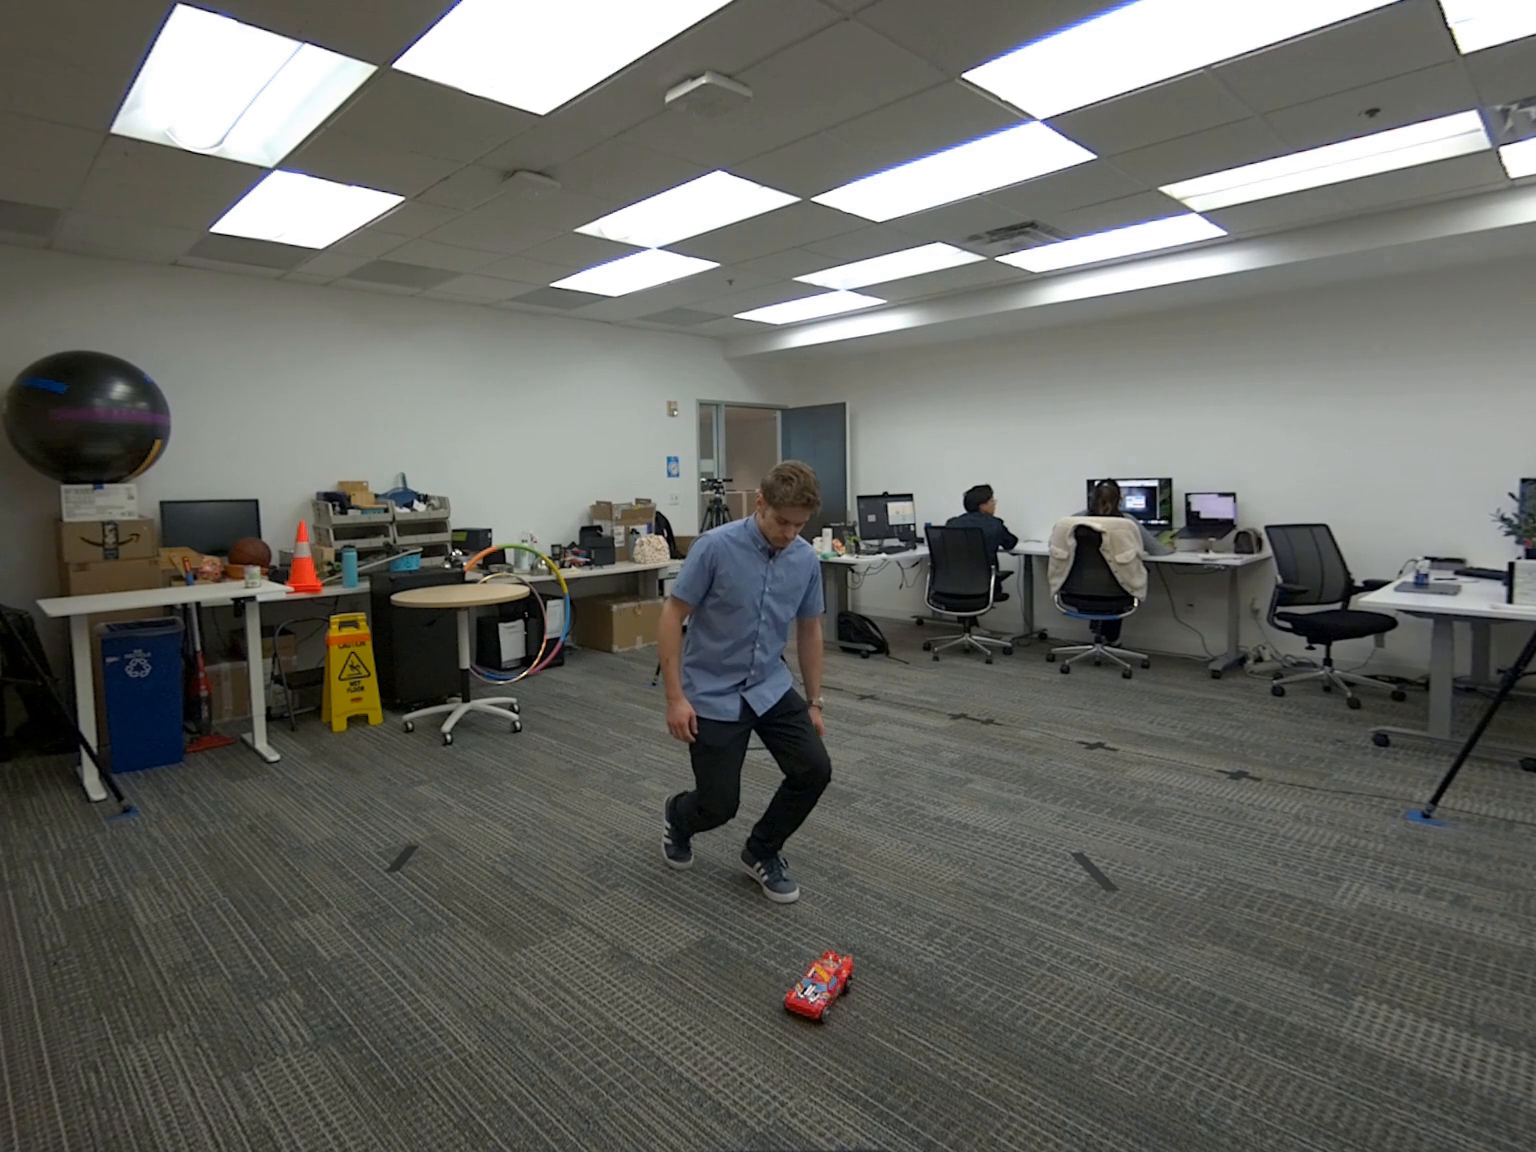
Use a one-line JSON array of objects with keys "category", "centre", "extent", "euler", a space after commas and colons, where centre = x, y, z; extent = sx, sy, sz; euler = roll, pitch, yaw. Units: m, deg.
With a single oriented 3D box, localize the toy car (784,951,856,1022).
[{"category": "toy car", "centre": [0.153, 1.109, 2.301], "extent": [0.134, 0.082, 0.252], "euler": [2, 19, 28]}]
